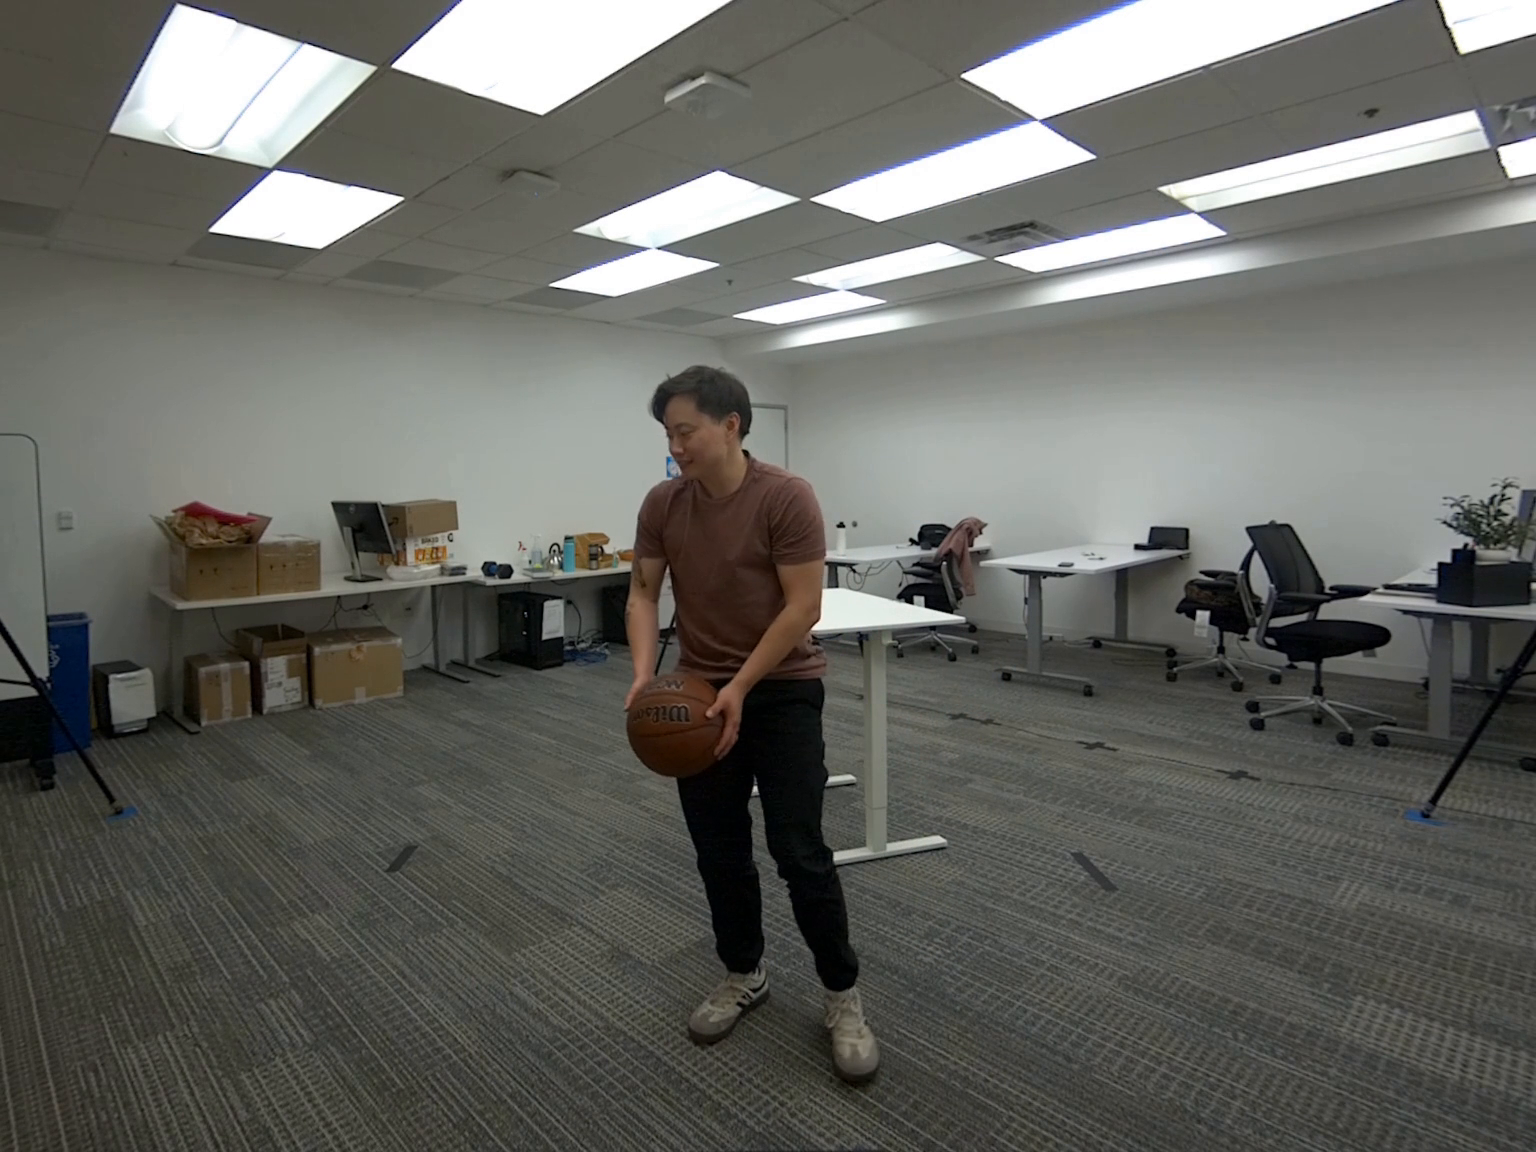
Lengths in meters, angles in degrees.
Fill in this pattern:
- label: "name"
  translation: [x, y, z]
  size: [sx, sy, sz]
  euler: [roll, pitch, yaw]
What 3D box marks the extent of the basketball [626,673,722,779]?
- label: "basketball"
  translation: [-0.200, 0.349, 1.964]
  size: [0.236, 0.235, 0.237]
  euler: [-1, 5, -2]
